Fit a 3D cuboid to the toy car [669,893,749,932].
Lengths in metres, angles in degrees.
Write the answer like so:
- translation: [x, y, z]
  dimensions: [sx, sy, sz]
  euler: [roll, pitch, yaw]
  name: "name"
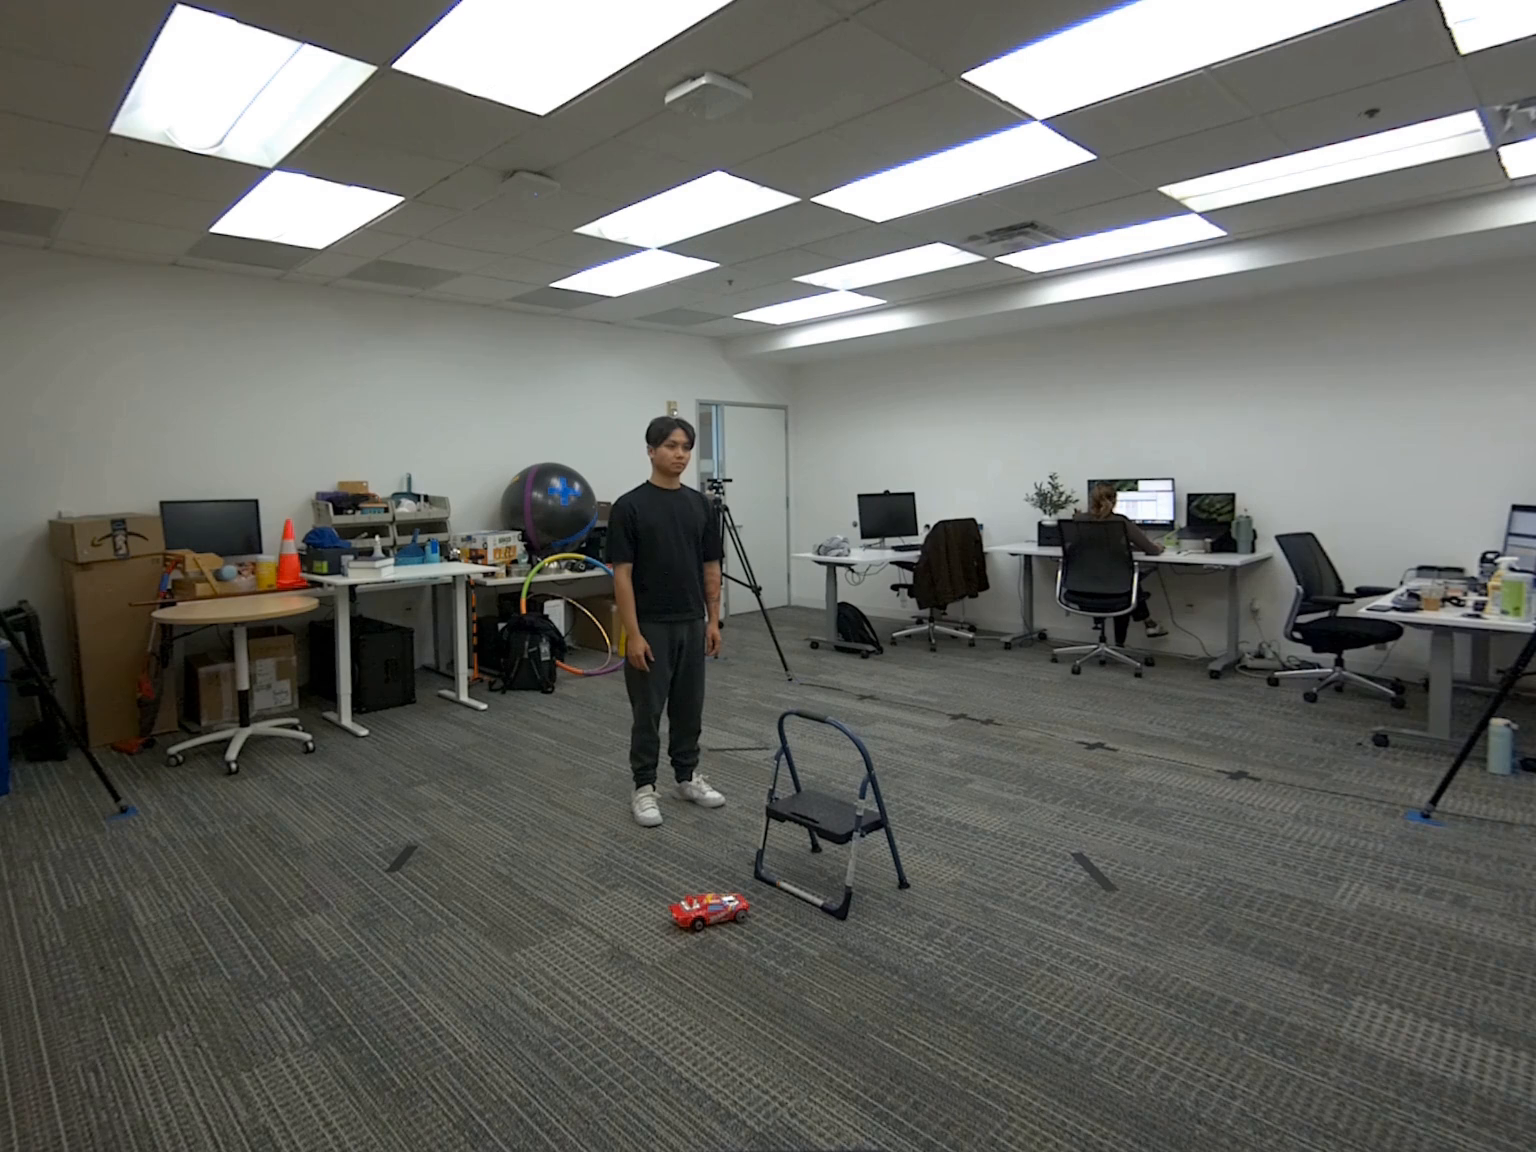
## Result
- translation: [-0.191, 1.061, 2.710]
  dimensions: [0.249, 0.083, 0.133]
  euler: [9, 2, -22]
  name: "toy car"
